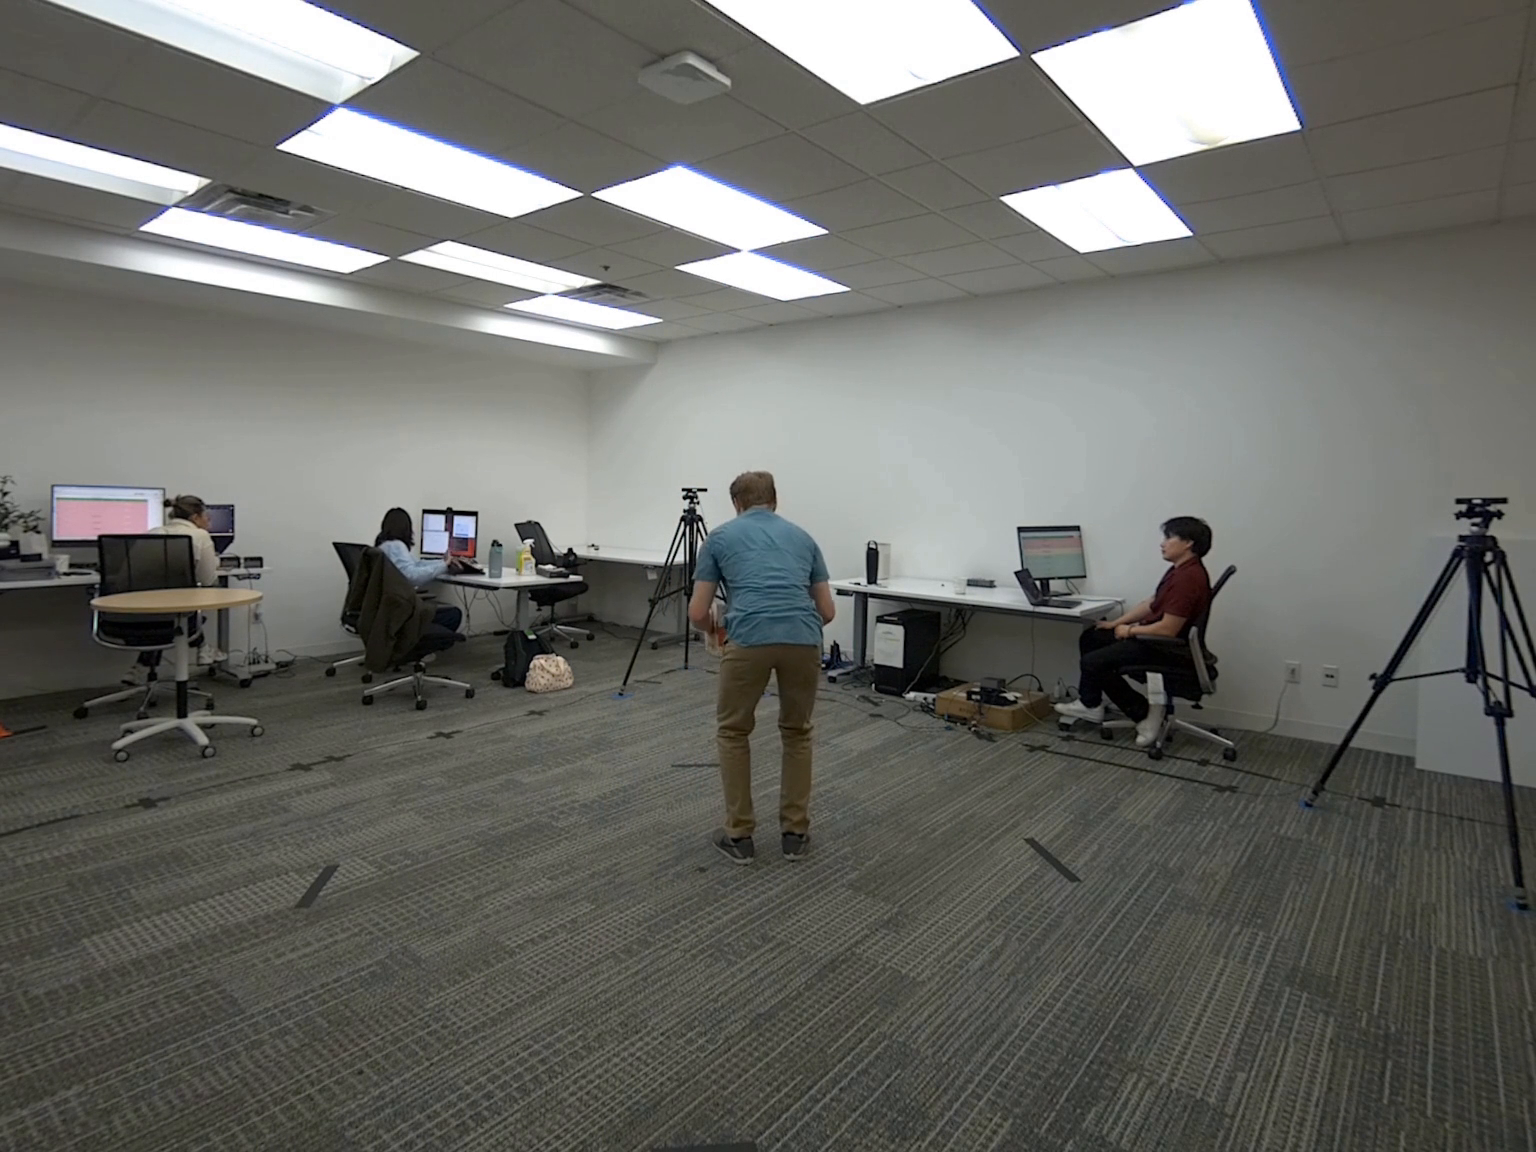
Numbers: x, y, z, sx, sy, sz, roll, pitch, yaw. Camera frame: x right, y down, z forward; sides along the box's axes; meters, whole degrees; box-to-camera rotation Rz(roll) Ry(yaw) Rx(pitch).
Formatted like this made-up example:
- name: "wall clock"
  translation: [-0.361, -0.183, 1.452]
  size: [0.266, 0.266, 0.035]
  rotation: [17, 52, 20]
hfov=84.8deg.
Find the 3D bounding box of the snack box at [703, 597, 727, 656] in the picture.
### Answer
- name: "snack box"
  translation: [-0.087, 0.230, 3.650]
  size: [0.337, 0.207, 0.407]
  rotation: [1, -4, -10]
